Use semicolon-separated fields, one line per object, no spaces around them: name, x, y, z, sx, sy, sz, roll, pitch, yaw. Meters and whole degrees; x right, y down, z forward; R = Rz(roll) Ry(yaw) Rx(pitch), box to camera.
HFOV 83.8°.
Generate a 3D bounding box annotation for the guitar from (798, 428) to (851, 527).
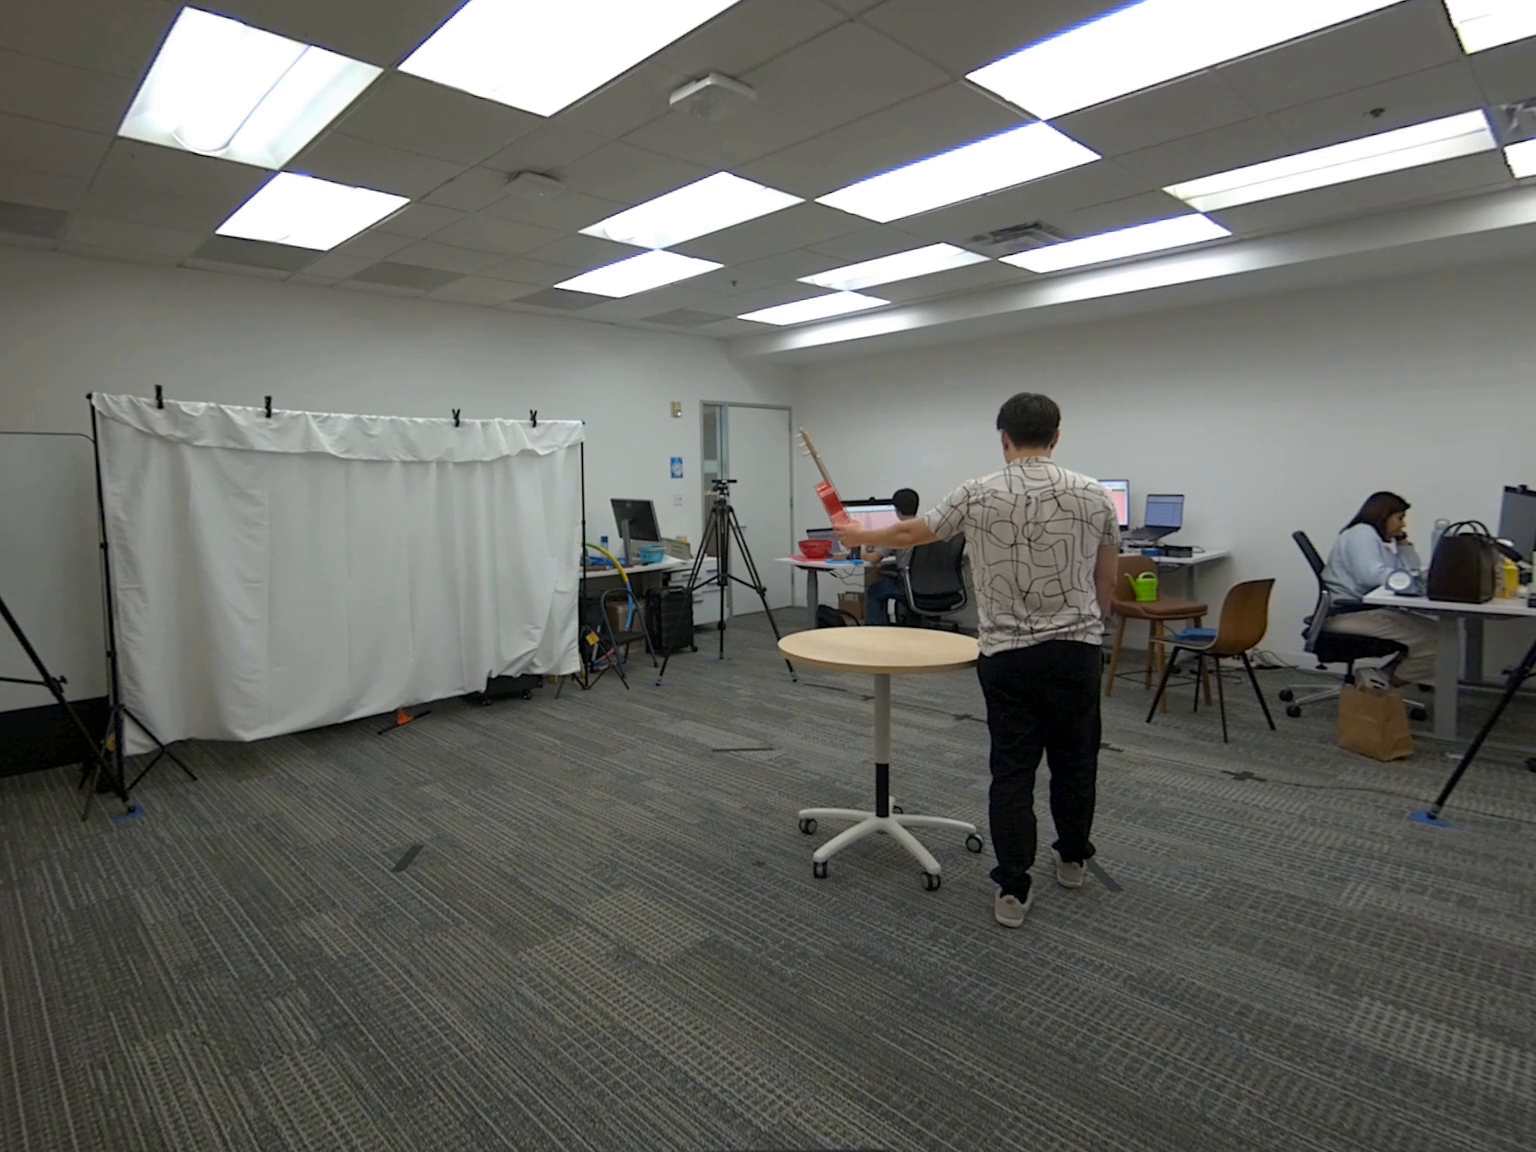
guitar;0.229;-0.334;3.317;0.071;0.502;0.191;-26;-6;4
